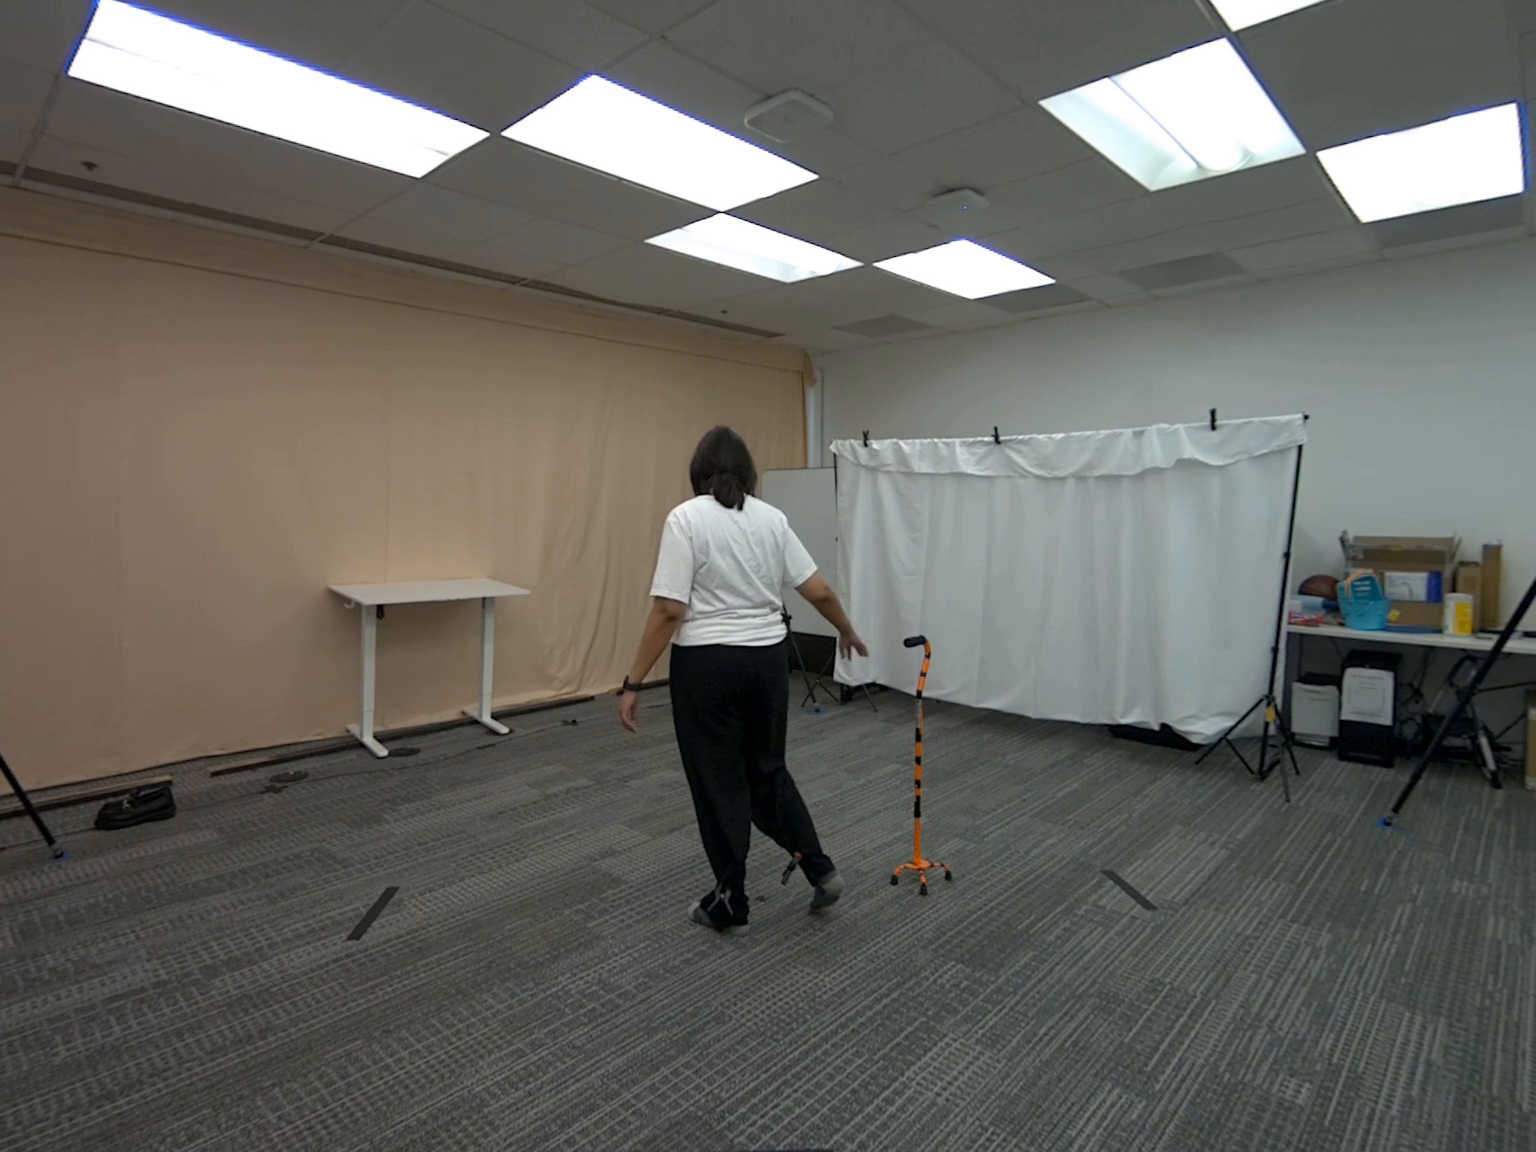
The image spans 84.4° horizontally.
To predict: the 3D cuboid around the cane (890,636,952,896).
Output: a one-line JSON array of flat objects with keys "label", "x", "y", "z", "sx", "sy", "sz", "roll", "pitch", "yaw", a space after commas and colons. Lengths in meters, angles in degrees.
[{"label": "cane", "x": 0.572, "y": 0.677, "z": 3.100, "sx": 0.156, "sy": 0.907, "sz": 0.200, "roll": 2, "pitch": 3, "yaw": 41}]
